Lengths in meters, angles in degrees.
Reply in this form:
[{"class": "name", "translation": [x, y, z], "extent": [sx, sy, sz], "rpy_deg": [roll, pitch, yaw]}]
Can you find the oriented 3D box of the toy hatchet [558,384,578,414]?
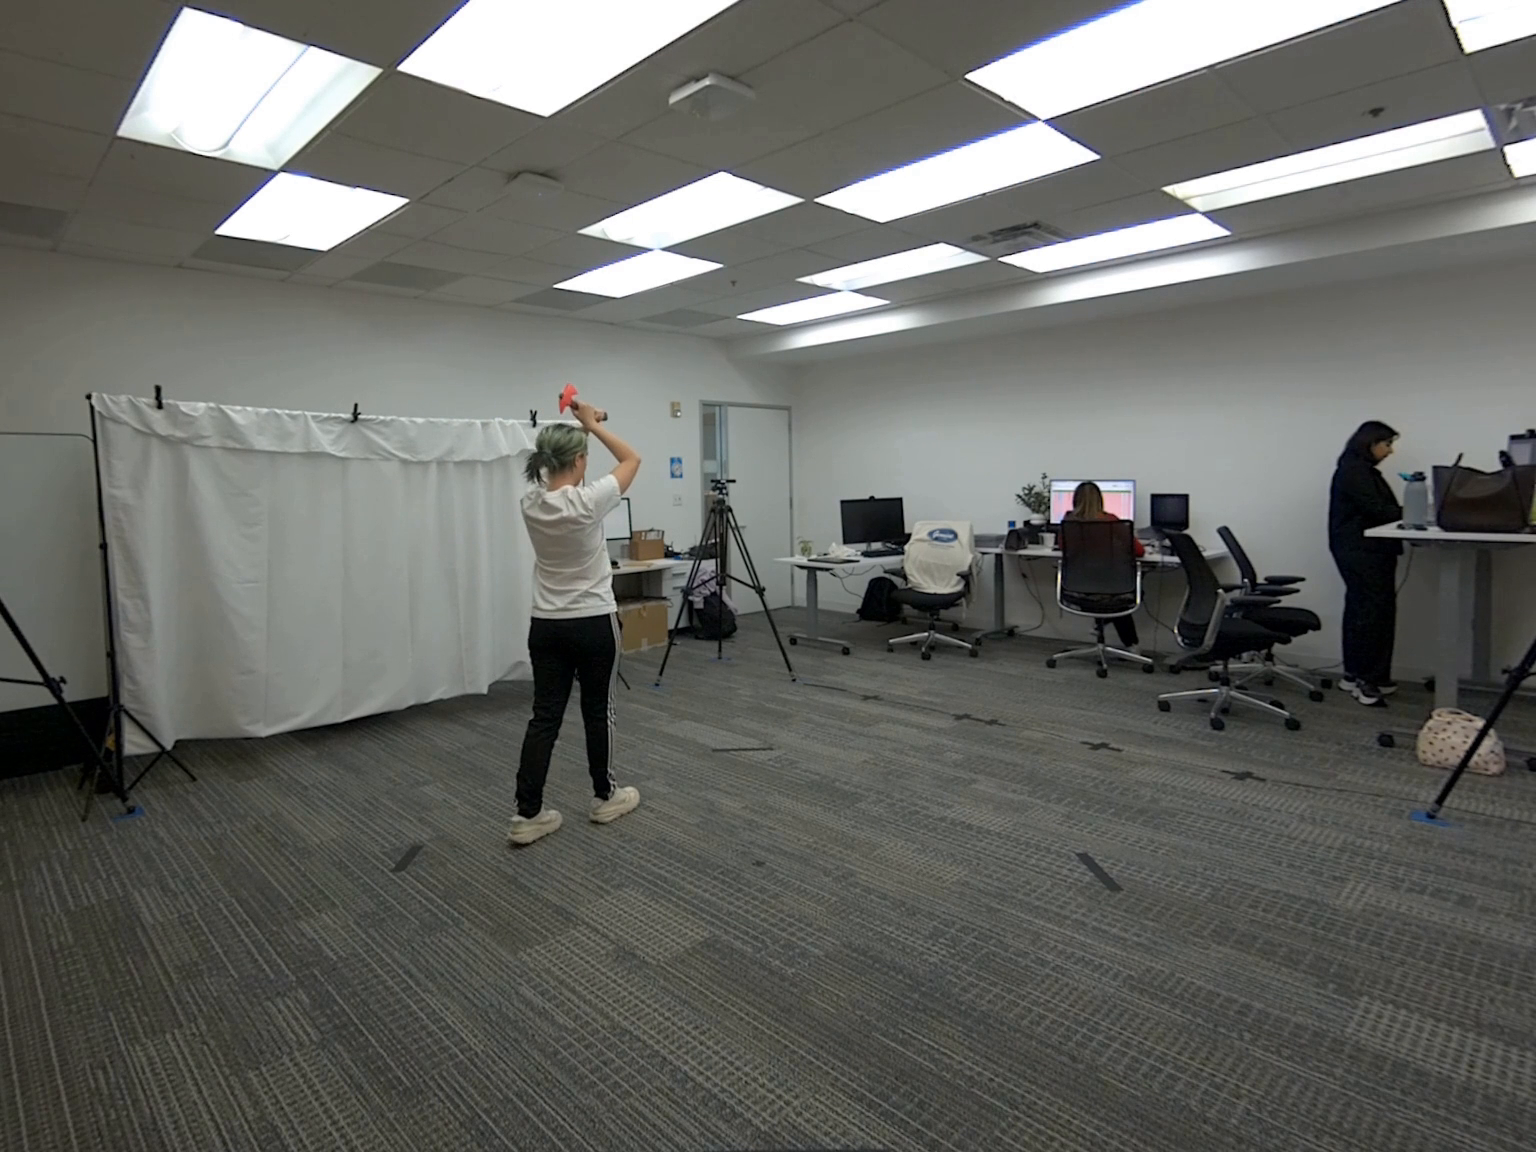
[{"class": "toy hatchet", "translation": [-0.763, -0.717, 3.508], "extent": [0.030, 0.131, 0.263], "rpy_deg": [-4, -1, 29]}]
